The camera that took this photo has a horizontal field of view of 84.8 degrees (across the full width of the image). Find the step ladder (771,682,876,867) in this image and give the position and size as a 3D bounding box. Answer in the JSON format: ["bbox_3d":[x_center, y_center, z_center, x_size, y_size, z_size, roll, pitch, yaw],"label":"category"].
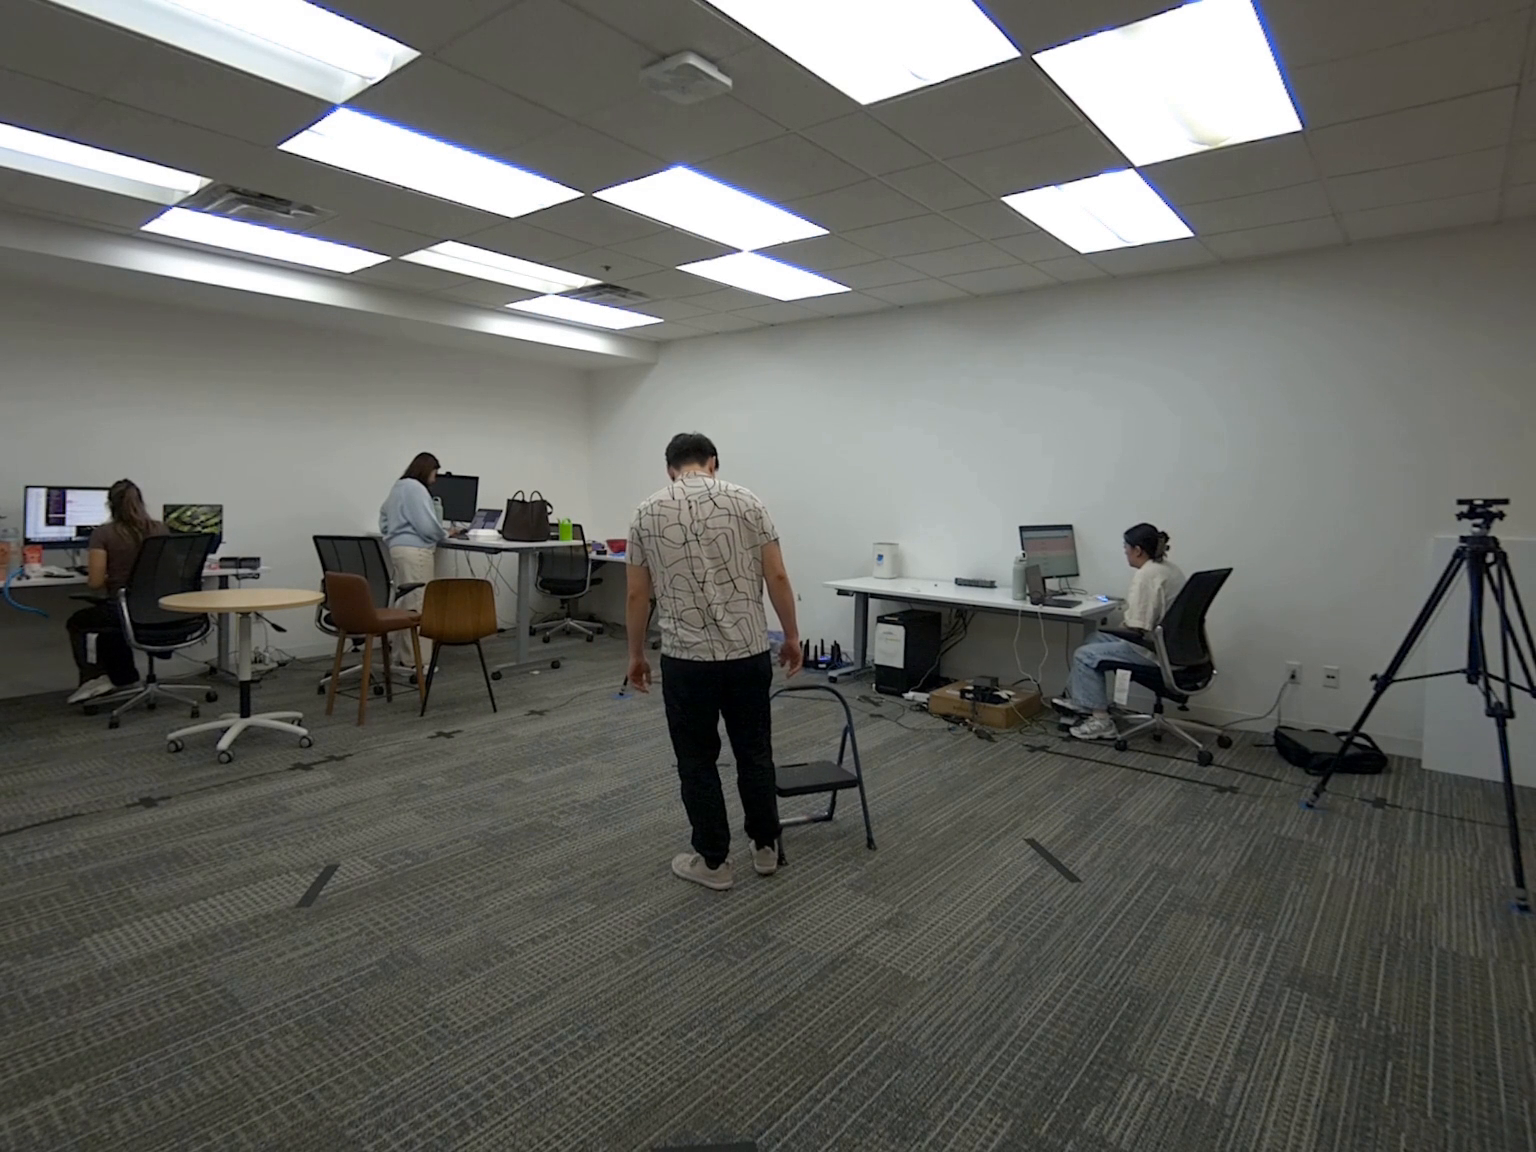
[{"bbox_3d":[0.163,0.747,3.387,0.420,0.604,0.359,0,4,-25],"label":"step ladder"}]
